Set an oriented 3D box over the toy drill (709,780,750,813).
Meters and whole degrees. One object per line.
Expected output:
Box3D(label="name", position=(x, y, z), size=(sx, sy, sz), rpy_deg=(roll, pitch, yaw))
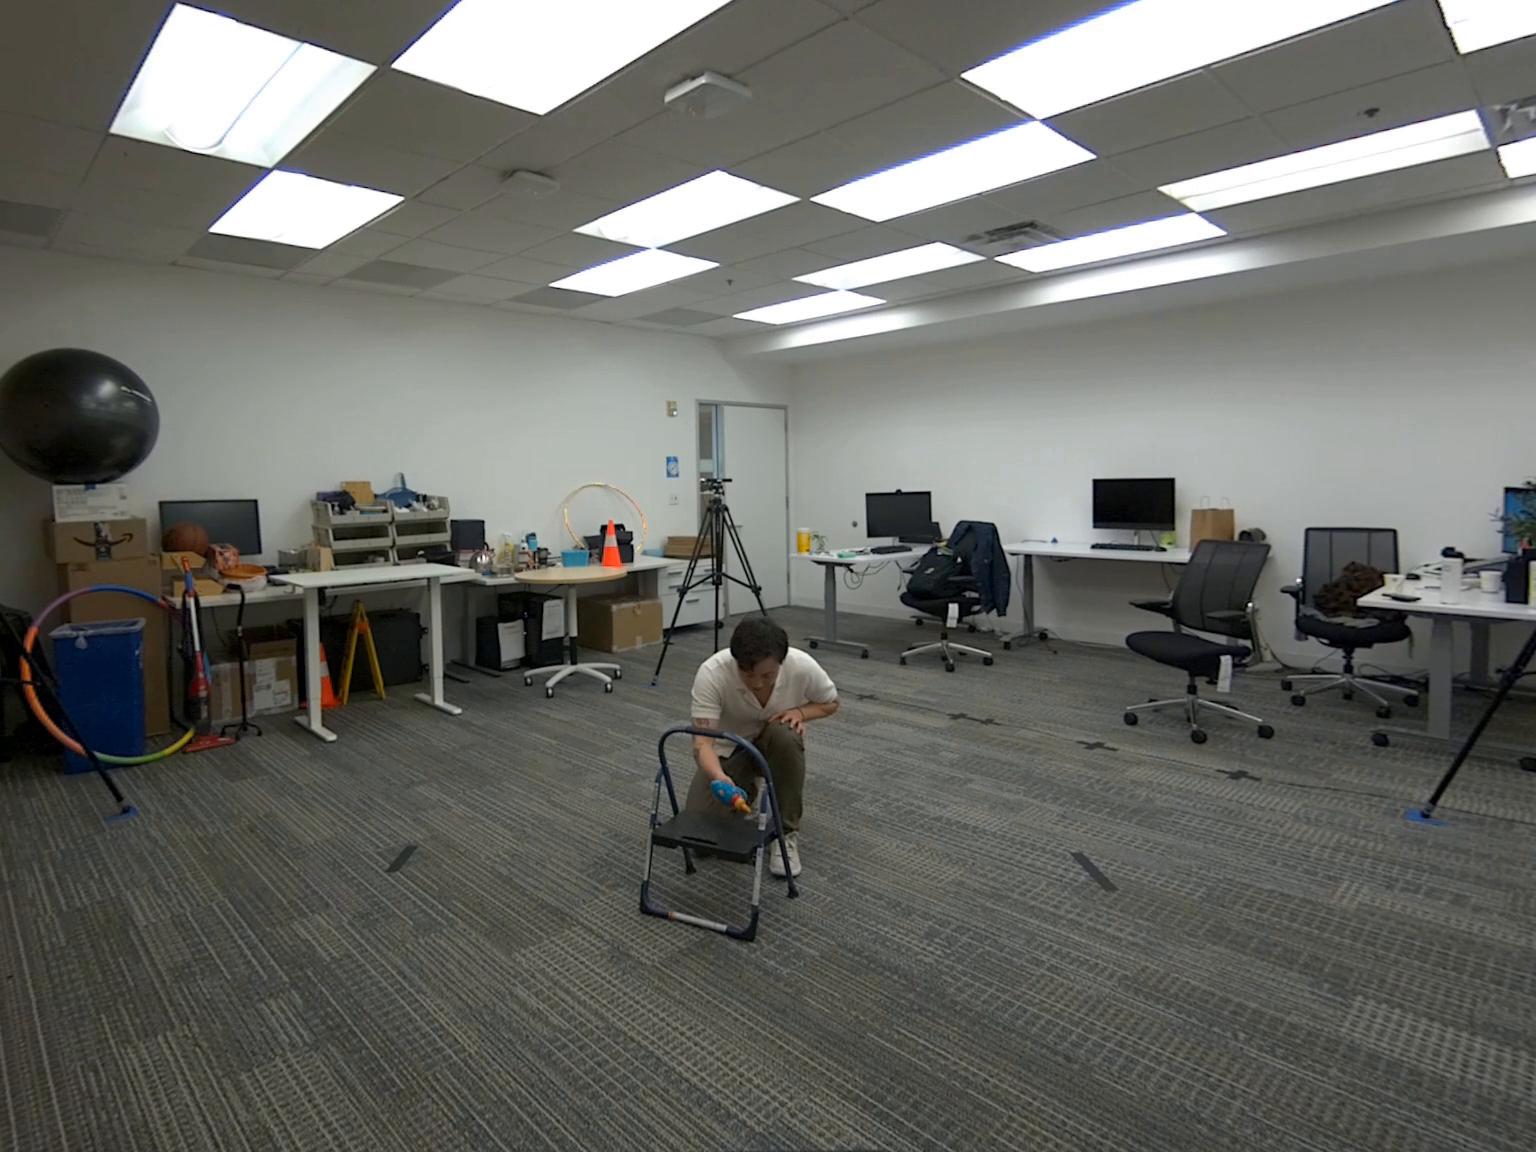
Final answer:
Box3D(label="toy drill", position=(-0.097, 0.723, 2.756), size=(0.176, 0.061, 0.141), rpy_deg=(28, -2, 32))
